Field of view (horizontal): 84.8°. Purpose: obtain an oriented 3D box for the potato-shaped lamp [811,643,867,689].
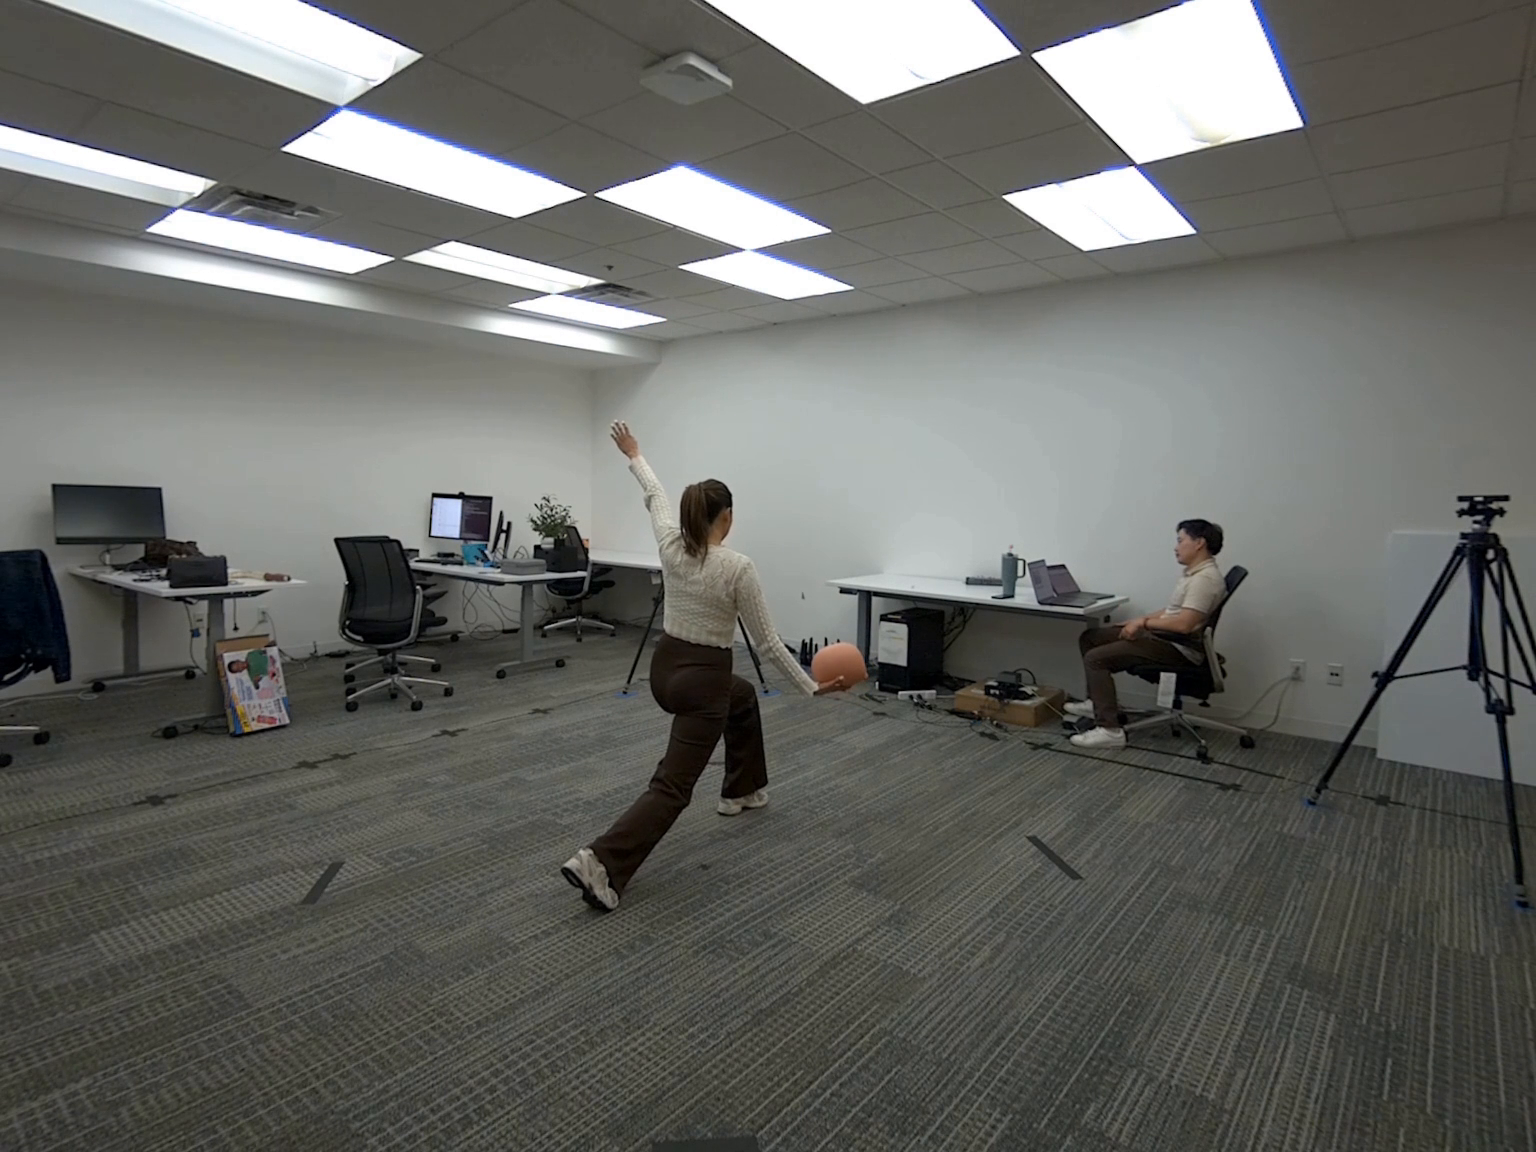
[{"bbox_3d":[0.259,0.355,3.304,0.196,0.172,0.166,-16,-3,-15],"label":"potato-shaped lamp"}]
